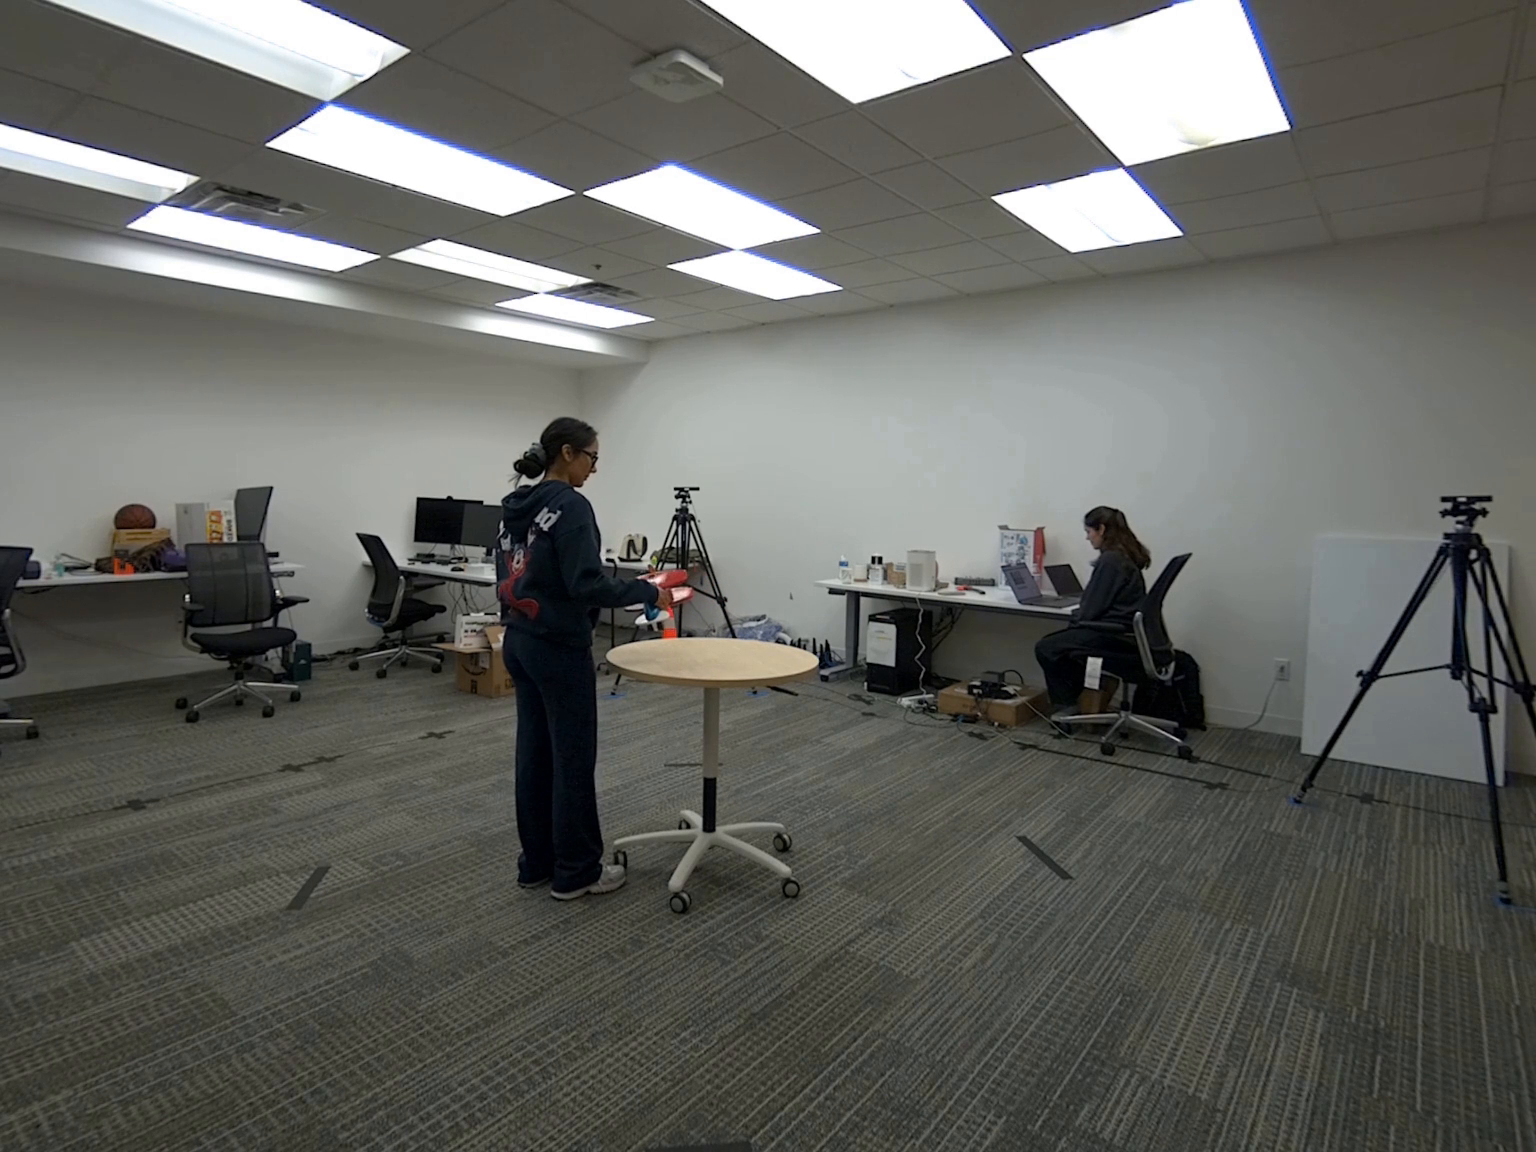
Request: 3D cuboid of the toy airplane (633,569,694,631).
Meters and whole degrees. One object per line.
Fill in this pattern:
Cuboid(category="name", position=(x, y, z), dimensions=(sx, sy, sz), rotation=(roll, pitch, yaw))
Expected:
Cuboid(category="toy airplane", position=(-0.388, 0.085, 2.982), dimensions=(0.248, 0.153, 0.268), rotation=(-22, 21, -17))
